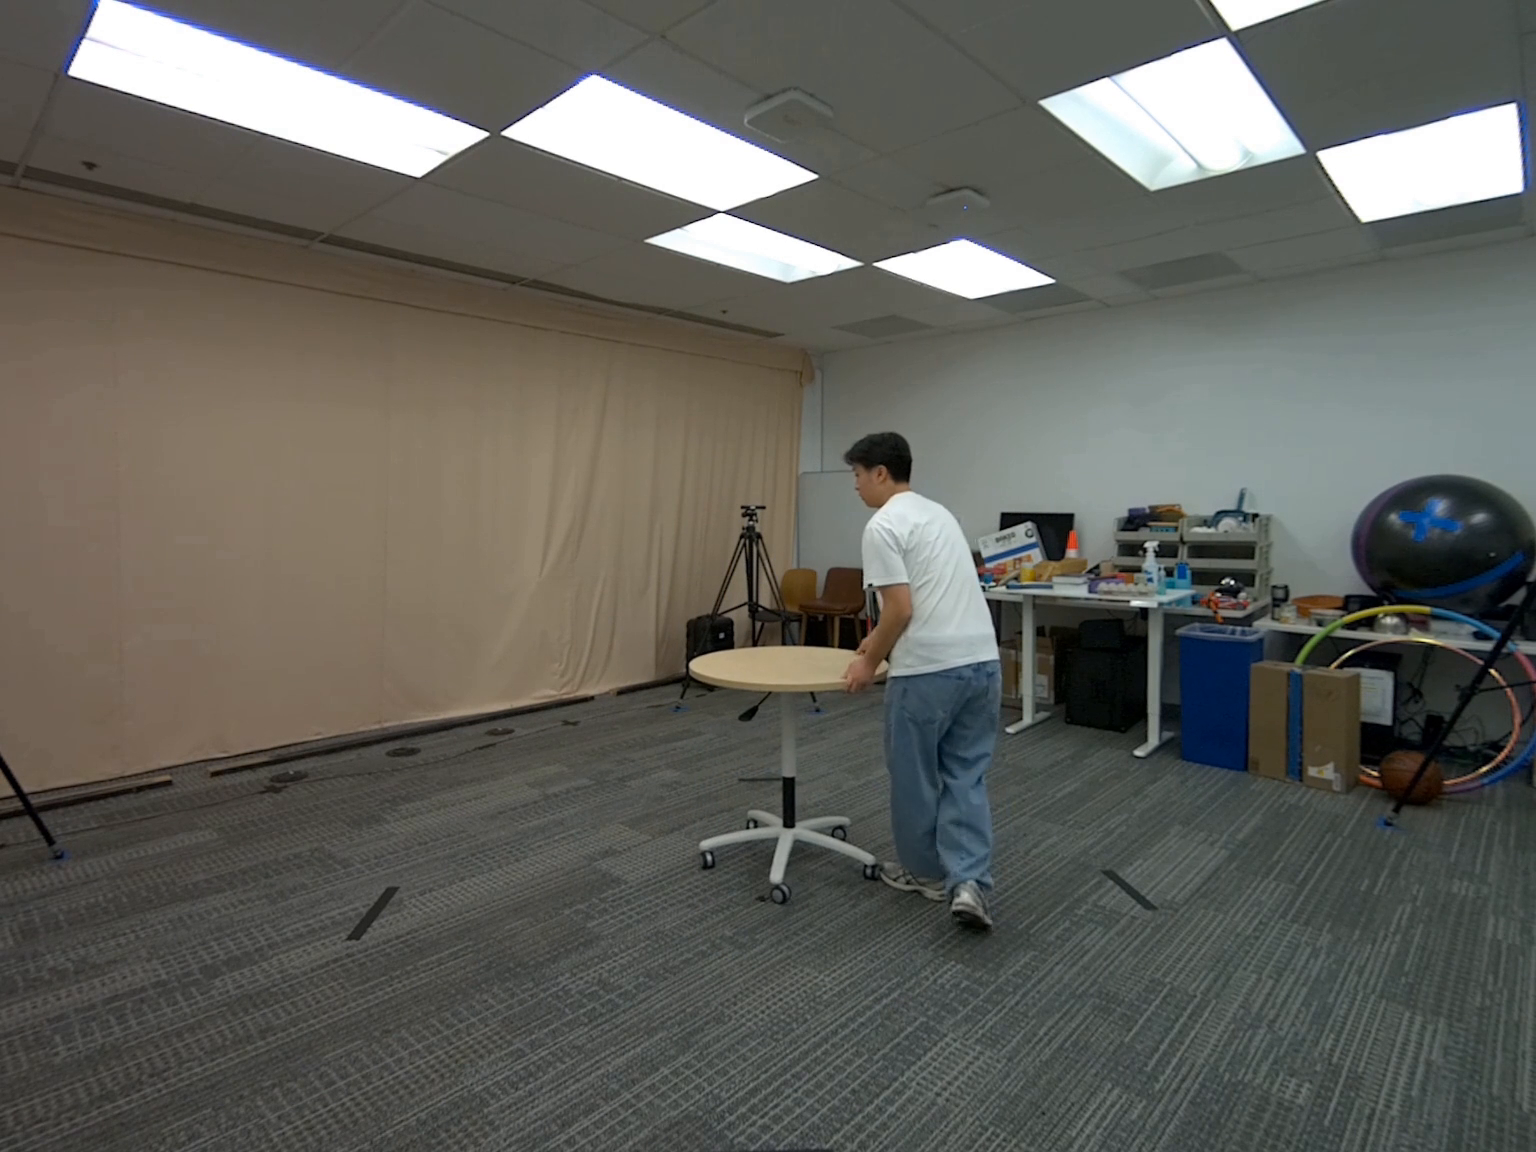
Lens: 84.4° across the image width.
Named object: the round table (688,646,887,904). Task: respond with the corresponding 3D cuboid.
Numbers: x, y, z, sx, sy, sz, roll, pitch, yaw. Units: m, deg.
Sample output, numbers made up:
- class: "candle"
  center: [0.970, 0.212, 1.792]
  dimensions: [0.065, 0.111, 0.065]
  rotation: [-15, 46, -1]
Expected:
- class: "round table"
  center: [0.063, 0.725, 3.271]
  dimensions: [0.784, 0.785, 0.788]
  rotation: [0, 3, -2]
